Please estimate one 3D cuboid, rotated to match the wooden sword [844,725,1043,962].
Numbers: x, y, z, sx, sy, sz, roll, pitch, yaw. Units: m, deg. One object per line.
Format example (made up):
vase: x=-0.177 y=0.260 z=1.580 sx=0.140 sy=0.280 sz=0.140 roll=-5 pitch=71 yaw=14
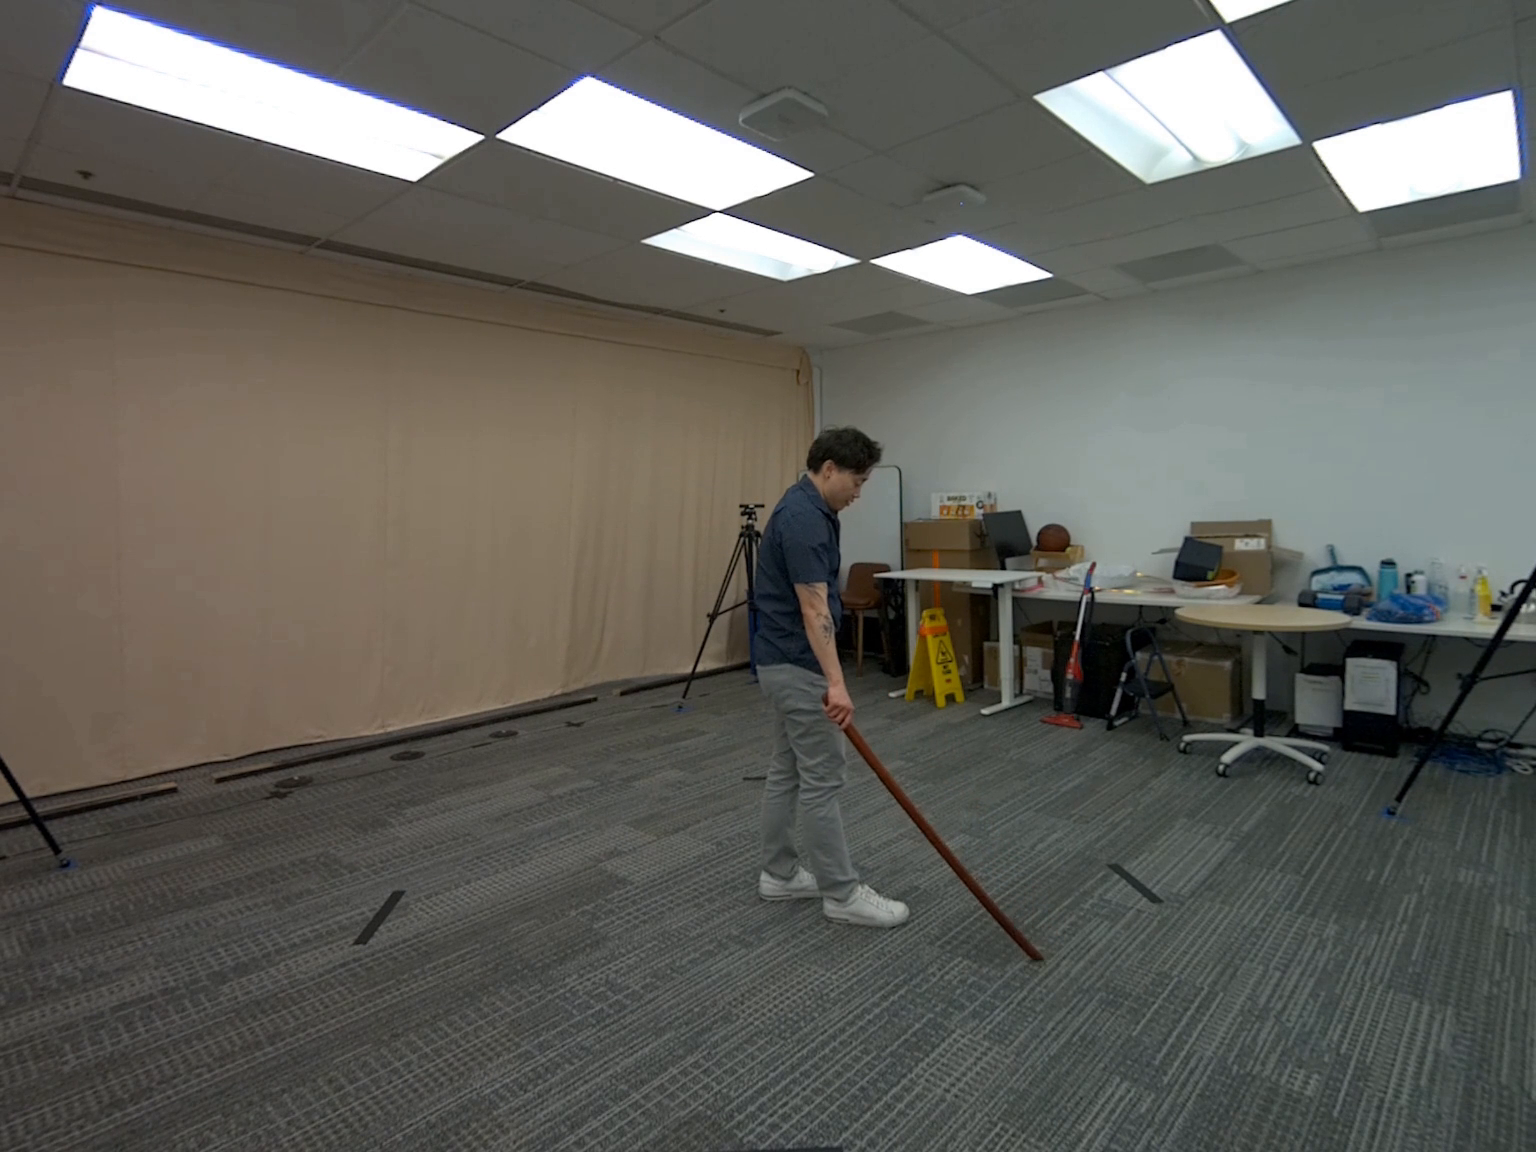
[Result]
wooden sword: x=0.506 y=0.776 z=2.565 sx=0.024 sy=1.026 sz=0.051 roll=-40 pitch=-1 yaw=2
